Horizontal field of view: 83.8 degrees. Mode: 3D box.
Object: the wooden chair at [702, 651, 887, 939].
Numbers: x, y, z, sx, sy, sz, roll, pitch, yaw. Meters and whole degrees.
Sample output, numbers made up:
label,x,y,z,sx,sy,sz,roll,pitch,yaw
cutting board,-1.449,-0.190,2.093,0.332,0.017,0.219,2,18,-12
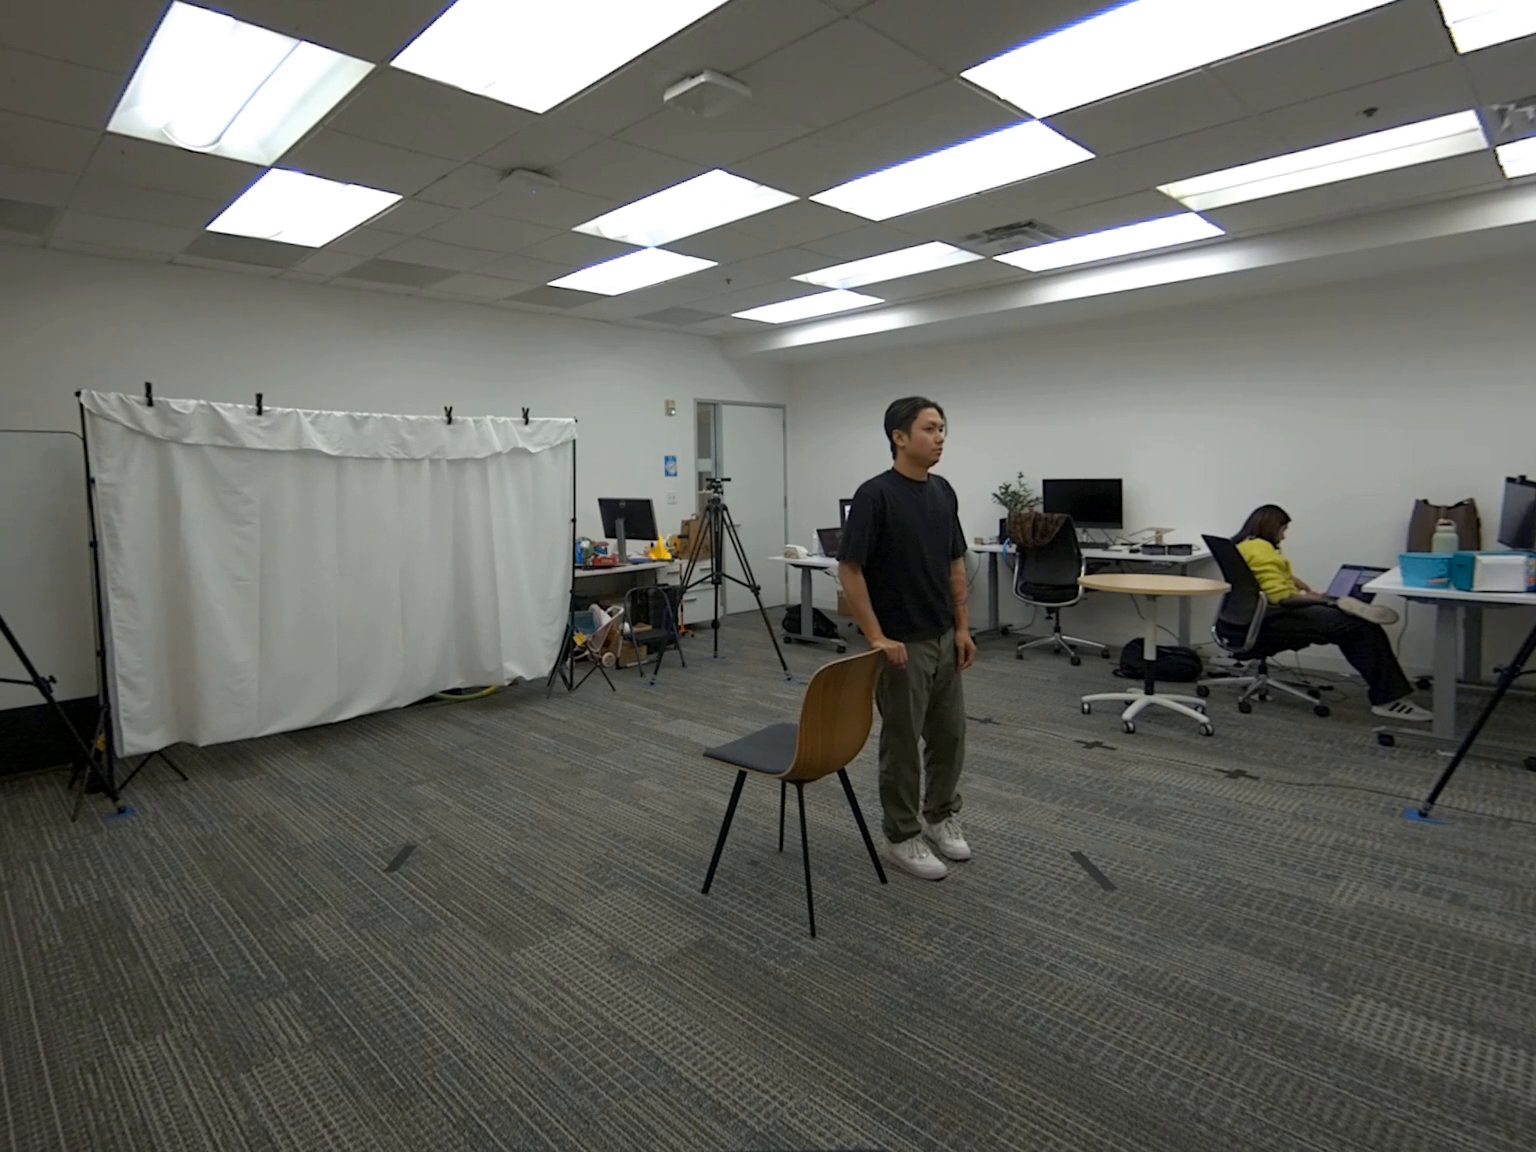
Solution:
label,x,y,z,sx,sy,sz,roll,pitch,yaw
wooden chair,0.080,0.639,2.873,0.540,0.872,0.466,8,9,38
